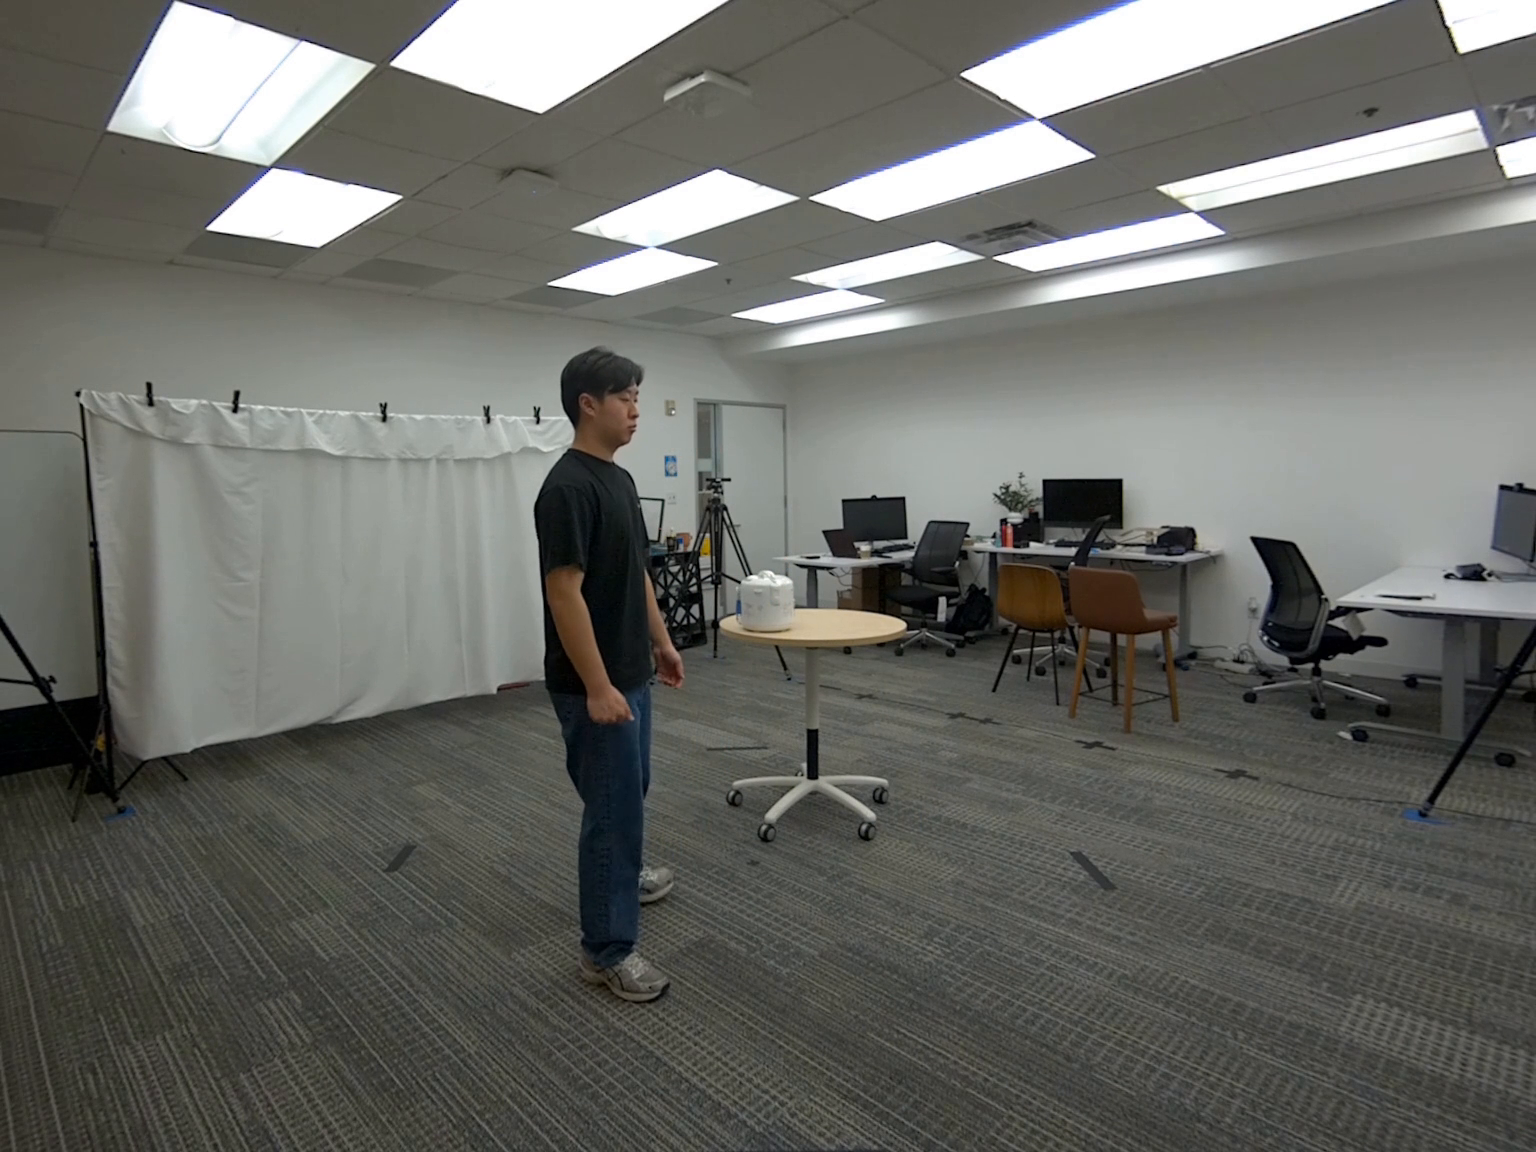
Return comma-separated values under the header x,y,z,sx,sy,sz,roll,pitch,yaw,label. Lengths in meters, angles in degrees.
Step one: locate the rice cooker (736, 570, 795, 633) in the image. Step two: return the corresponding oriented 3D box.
x,y,z,sx,sy,sz,roll,pitch,yaw,label
0.000,0.095,3.386,0.214,0.232,0.225,-3,6,-18,rice cooker
